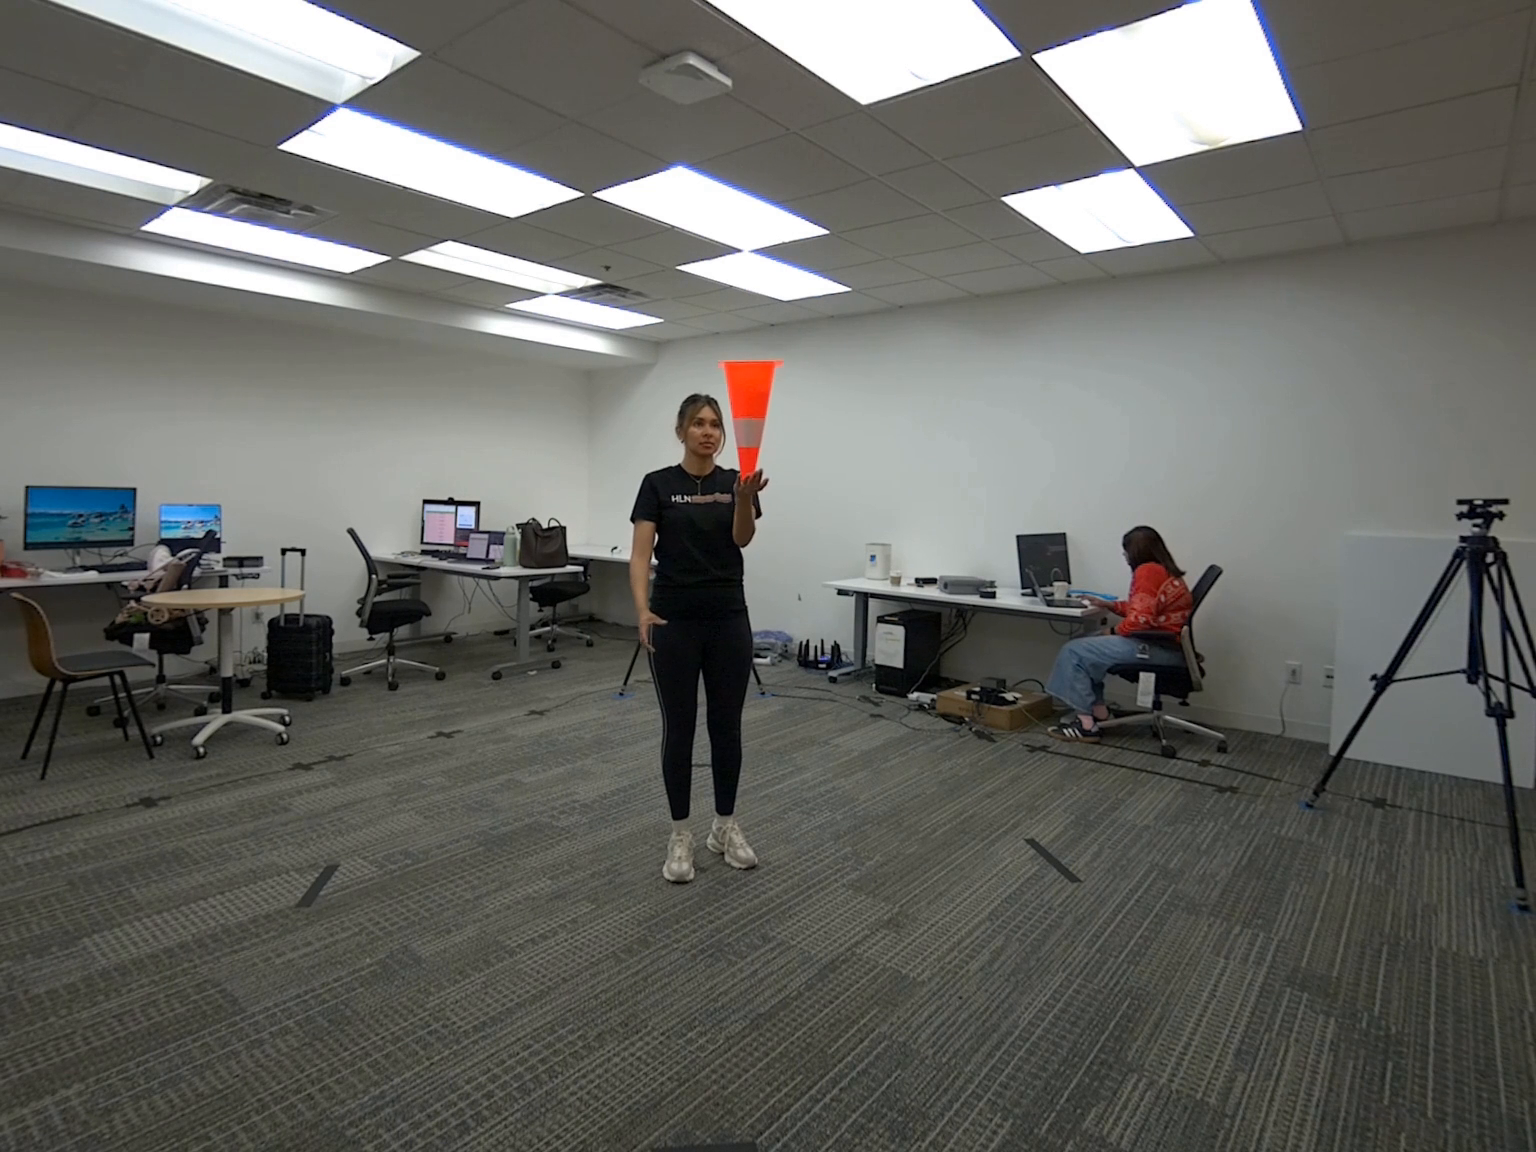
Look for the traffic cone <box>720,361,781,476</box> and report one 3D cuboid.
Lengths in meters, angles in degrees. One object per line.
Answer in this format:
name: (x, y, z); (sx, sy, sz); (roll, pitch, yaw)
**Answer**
traffic cone: (-0.067, -0.472, 2.644); (0.203, 0.383, 0.206); (0, 3, -3)
